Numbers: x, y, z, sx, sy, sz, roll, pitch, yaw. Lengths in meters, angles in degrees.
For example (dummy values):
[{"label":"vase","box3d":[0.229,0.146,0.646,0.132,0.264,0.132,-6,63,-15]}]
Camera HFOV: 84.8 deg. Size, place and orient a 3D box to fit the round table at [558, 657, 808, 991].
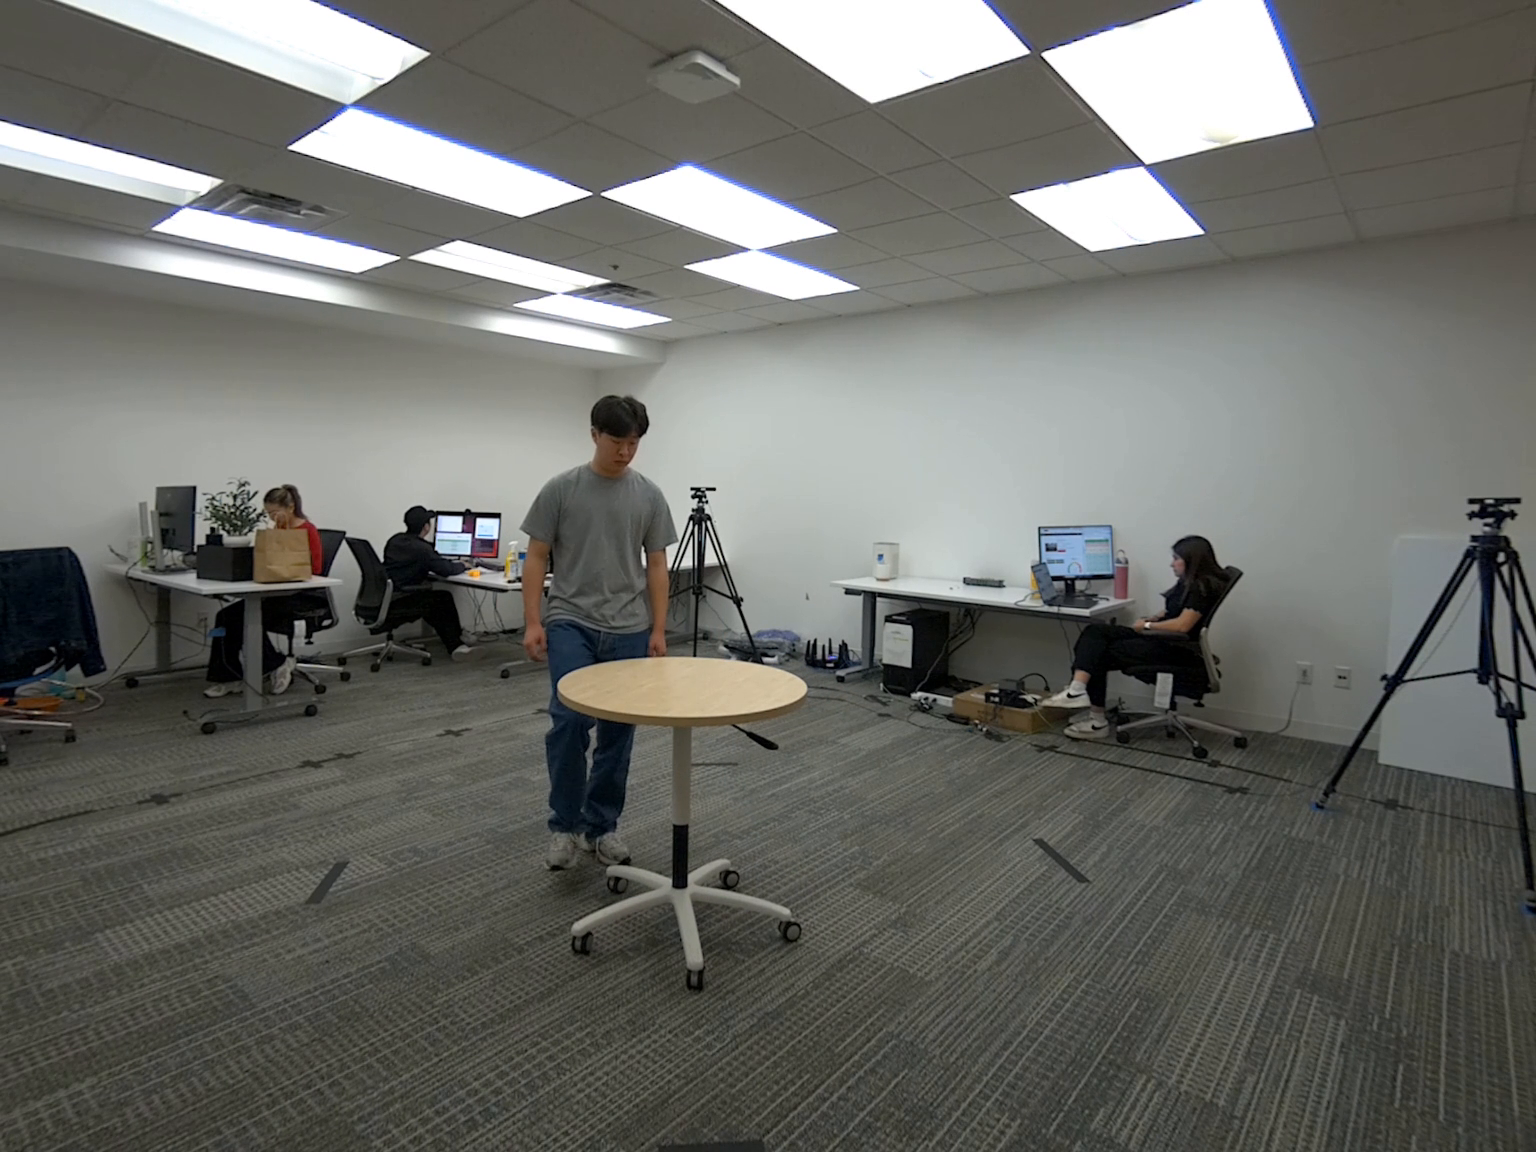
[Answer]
[{"label":"round table","box3d":[-0.276,0.721,2.649,0.763,0.791,0.768,1,5,-2]}]
